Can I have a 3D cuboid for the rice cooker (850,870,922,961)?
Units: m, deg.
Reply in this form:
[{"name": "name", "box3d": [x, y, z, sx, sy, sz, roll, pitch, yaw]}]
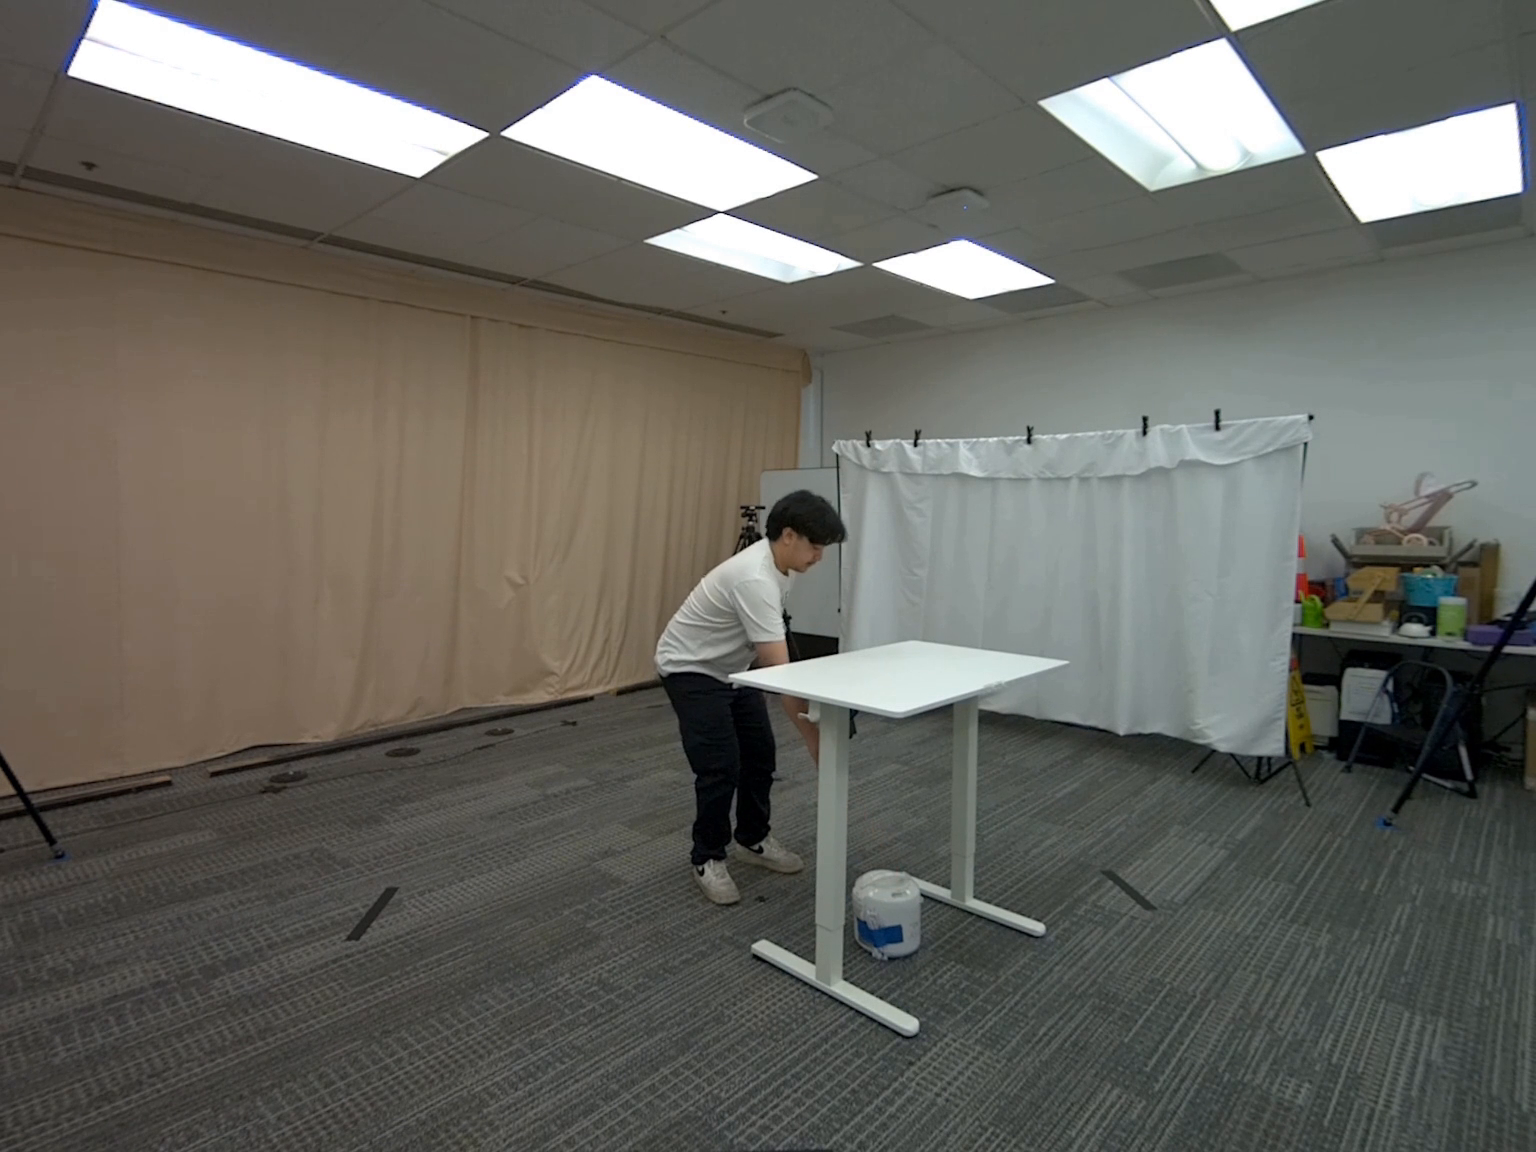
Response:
[{"name": "rice cooker", "box3d": [0.380, 1.054, 2.668, 0.216, 0.232, 0.222, -1, 4, -18]}]
